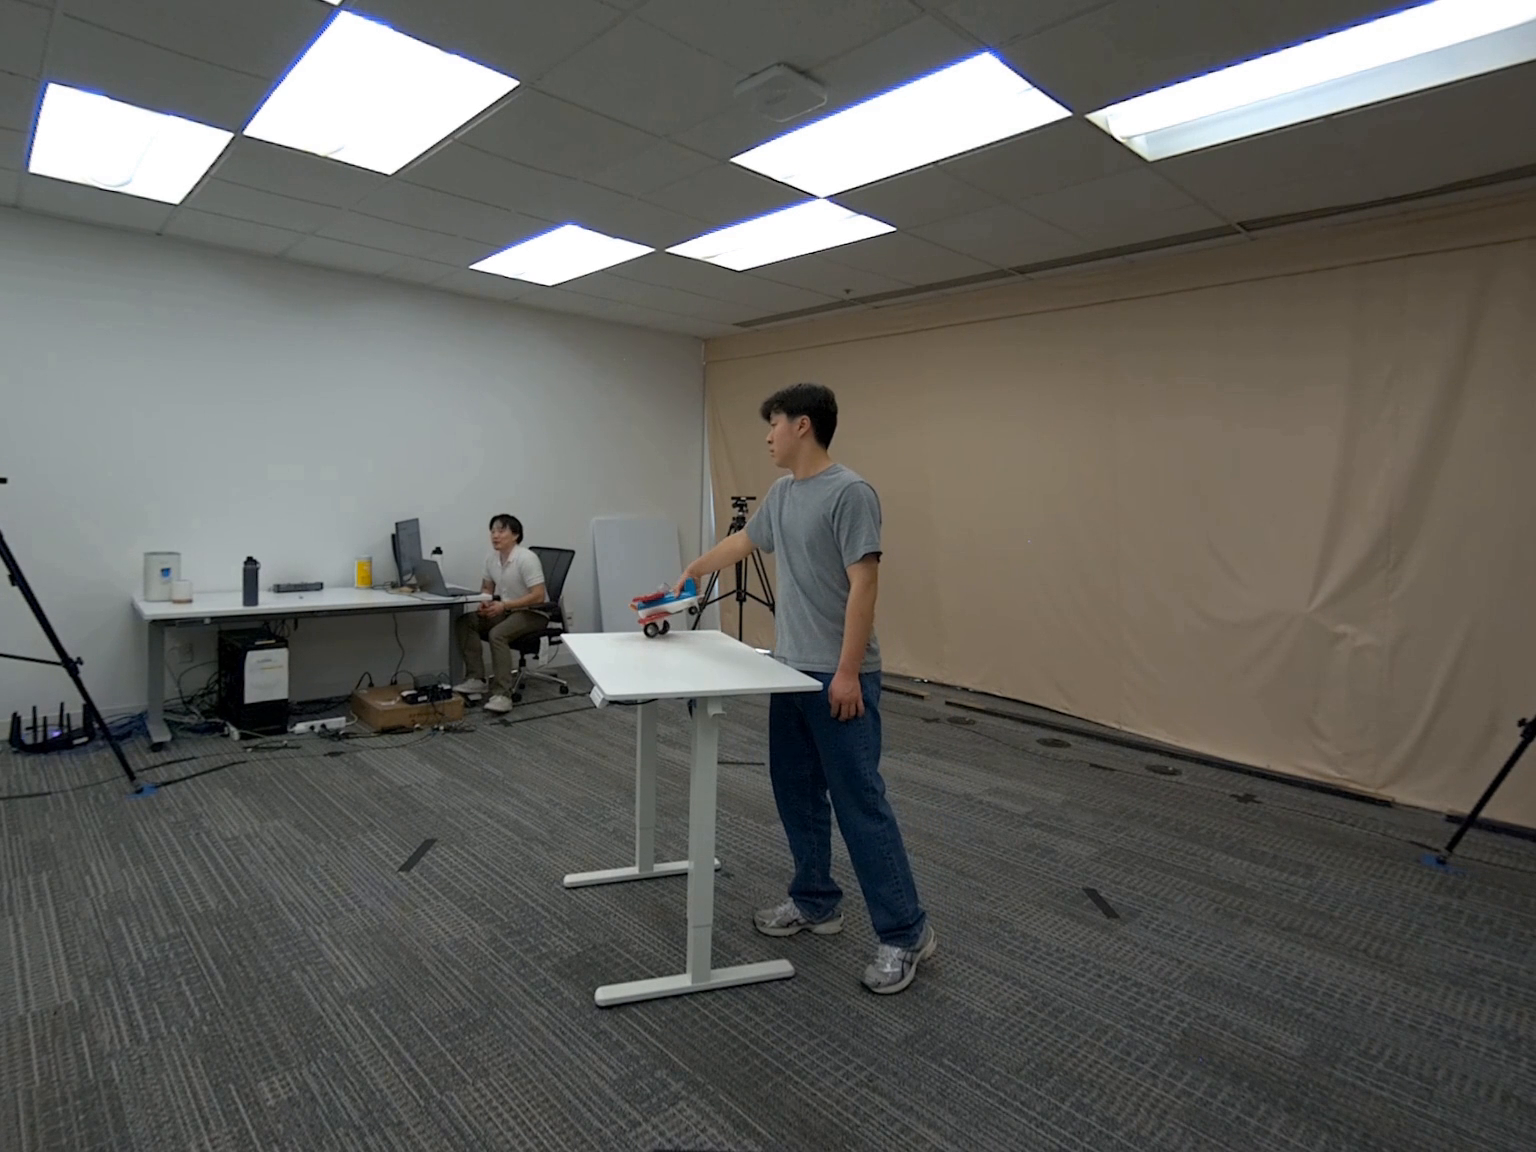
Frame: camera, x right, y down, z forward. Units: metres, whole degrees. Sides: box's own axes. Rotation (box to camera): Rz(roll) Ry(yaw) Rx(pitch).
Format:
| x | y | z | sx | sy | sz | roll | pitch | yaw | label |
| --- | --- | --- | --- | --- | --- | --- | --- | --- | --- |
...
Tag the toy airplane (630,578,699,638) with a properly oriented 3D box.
| x | y | z | sx | sy | sz | roll | pitch | yaw | label |
| --- | --- | --- | --- | --- | --- | --- | --- | --- | --- |
| -0.367 | 0.113 | 3.077 | 0.258 | 0.157 | 0.250 | -27 | -6 | -6 | toy airplane |
